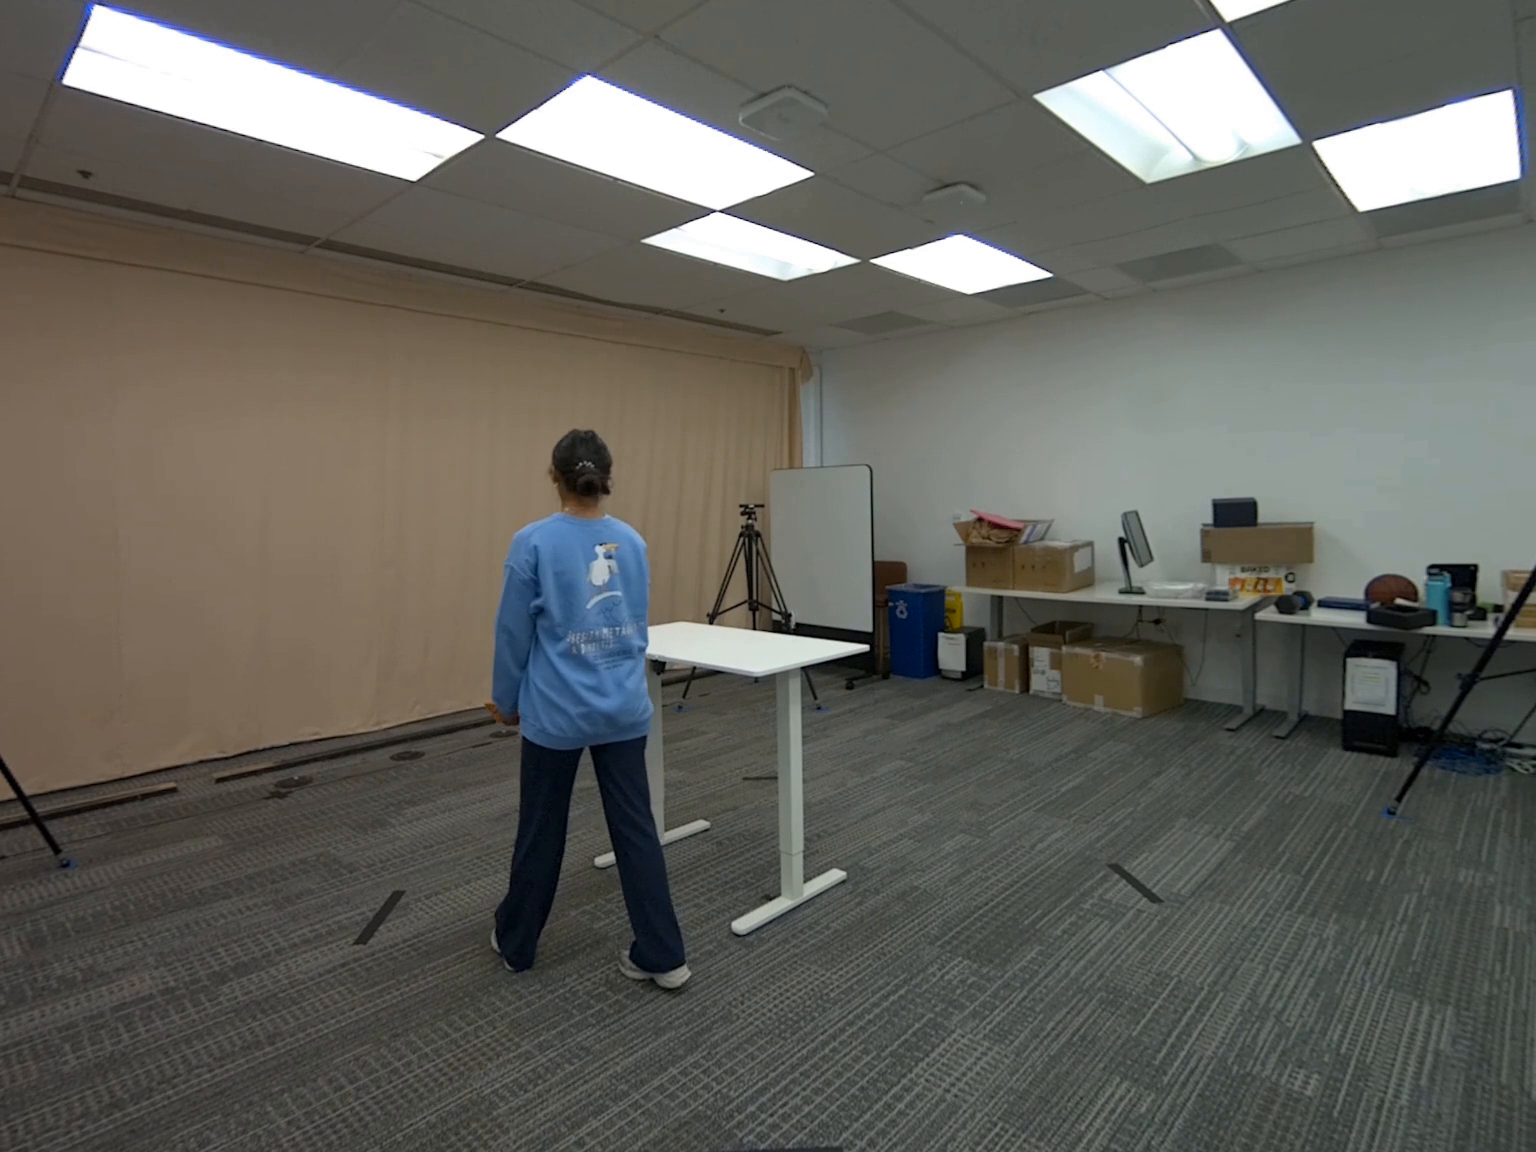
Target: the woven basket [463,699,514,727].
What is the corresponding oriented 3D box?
[{"bbox_3d":[-0.776,0.427,2.755,0.360,0.073,0.245,-8,-3,36],"label":"woven basket"}]
